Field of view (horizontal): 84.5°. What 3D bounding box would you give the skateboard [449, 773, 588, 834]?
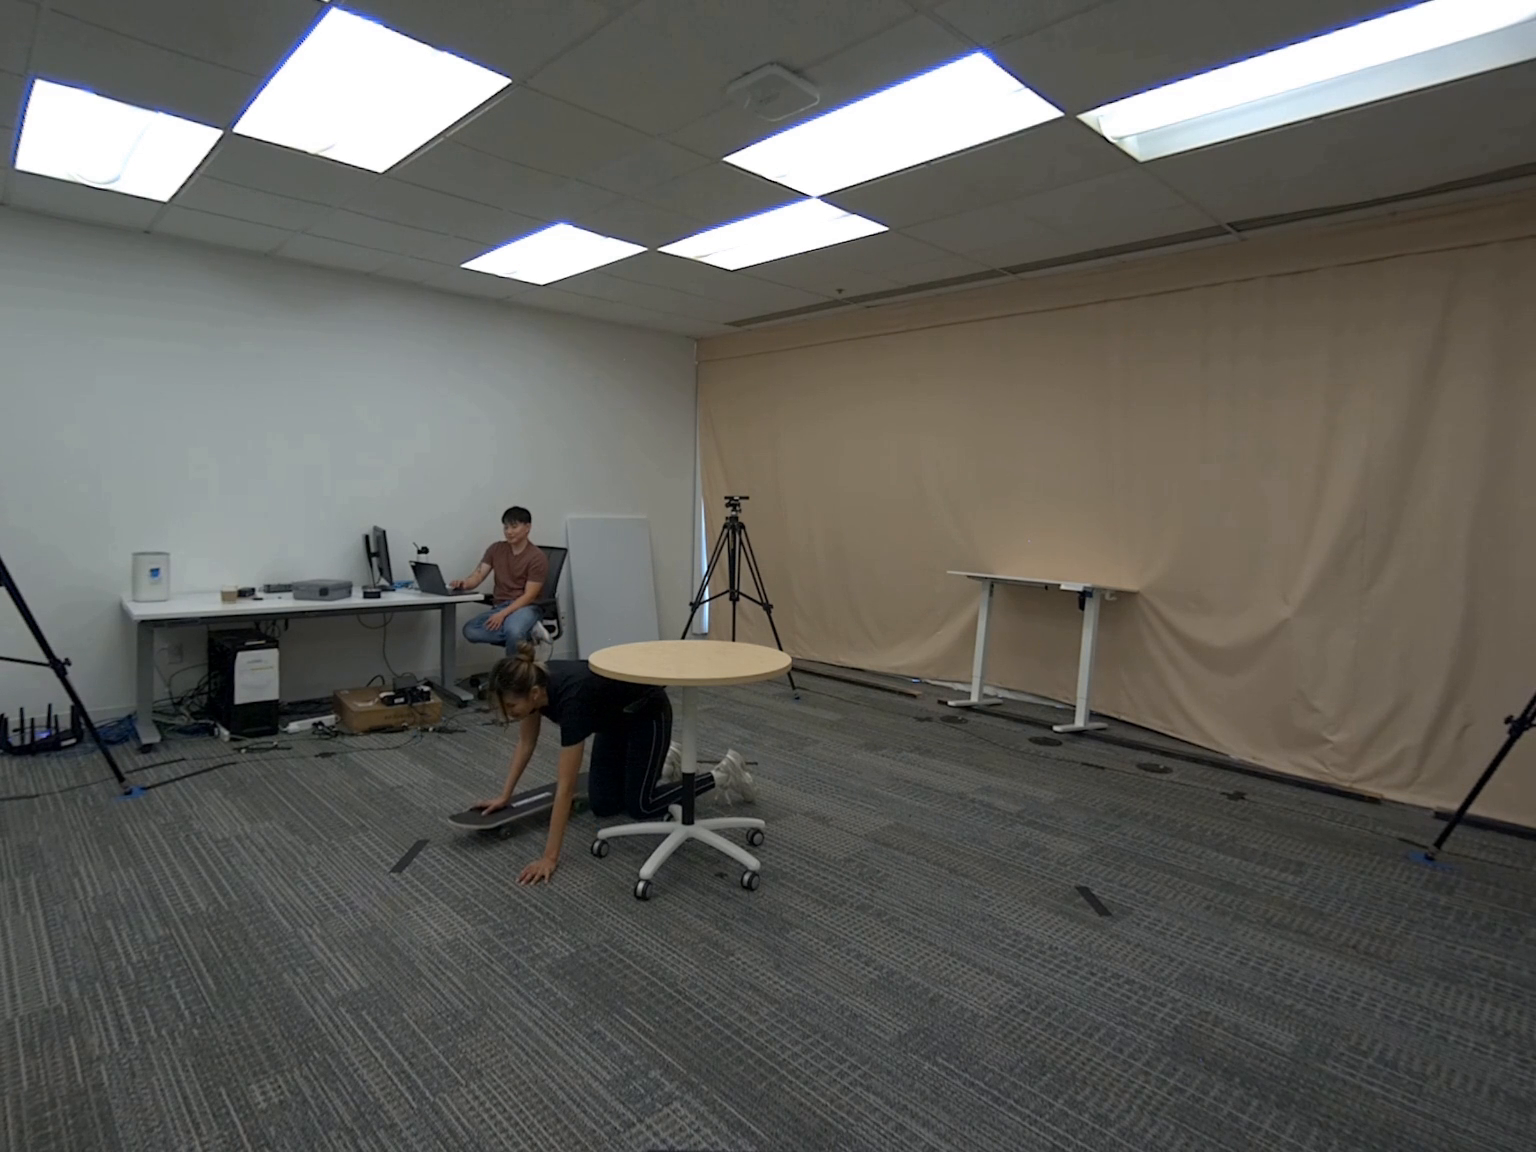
[{"bbox_3d":[-1.007,0.981,3.567,0.198,0.110,0.769,3,6,36],"label":"skateboard"}]
